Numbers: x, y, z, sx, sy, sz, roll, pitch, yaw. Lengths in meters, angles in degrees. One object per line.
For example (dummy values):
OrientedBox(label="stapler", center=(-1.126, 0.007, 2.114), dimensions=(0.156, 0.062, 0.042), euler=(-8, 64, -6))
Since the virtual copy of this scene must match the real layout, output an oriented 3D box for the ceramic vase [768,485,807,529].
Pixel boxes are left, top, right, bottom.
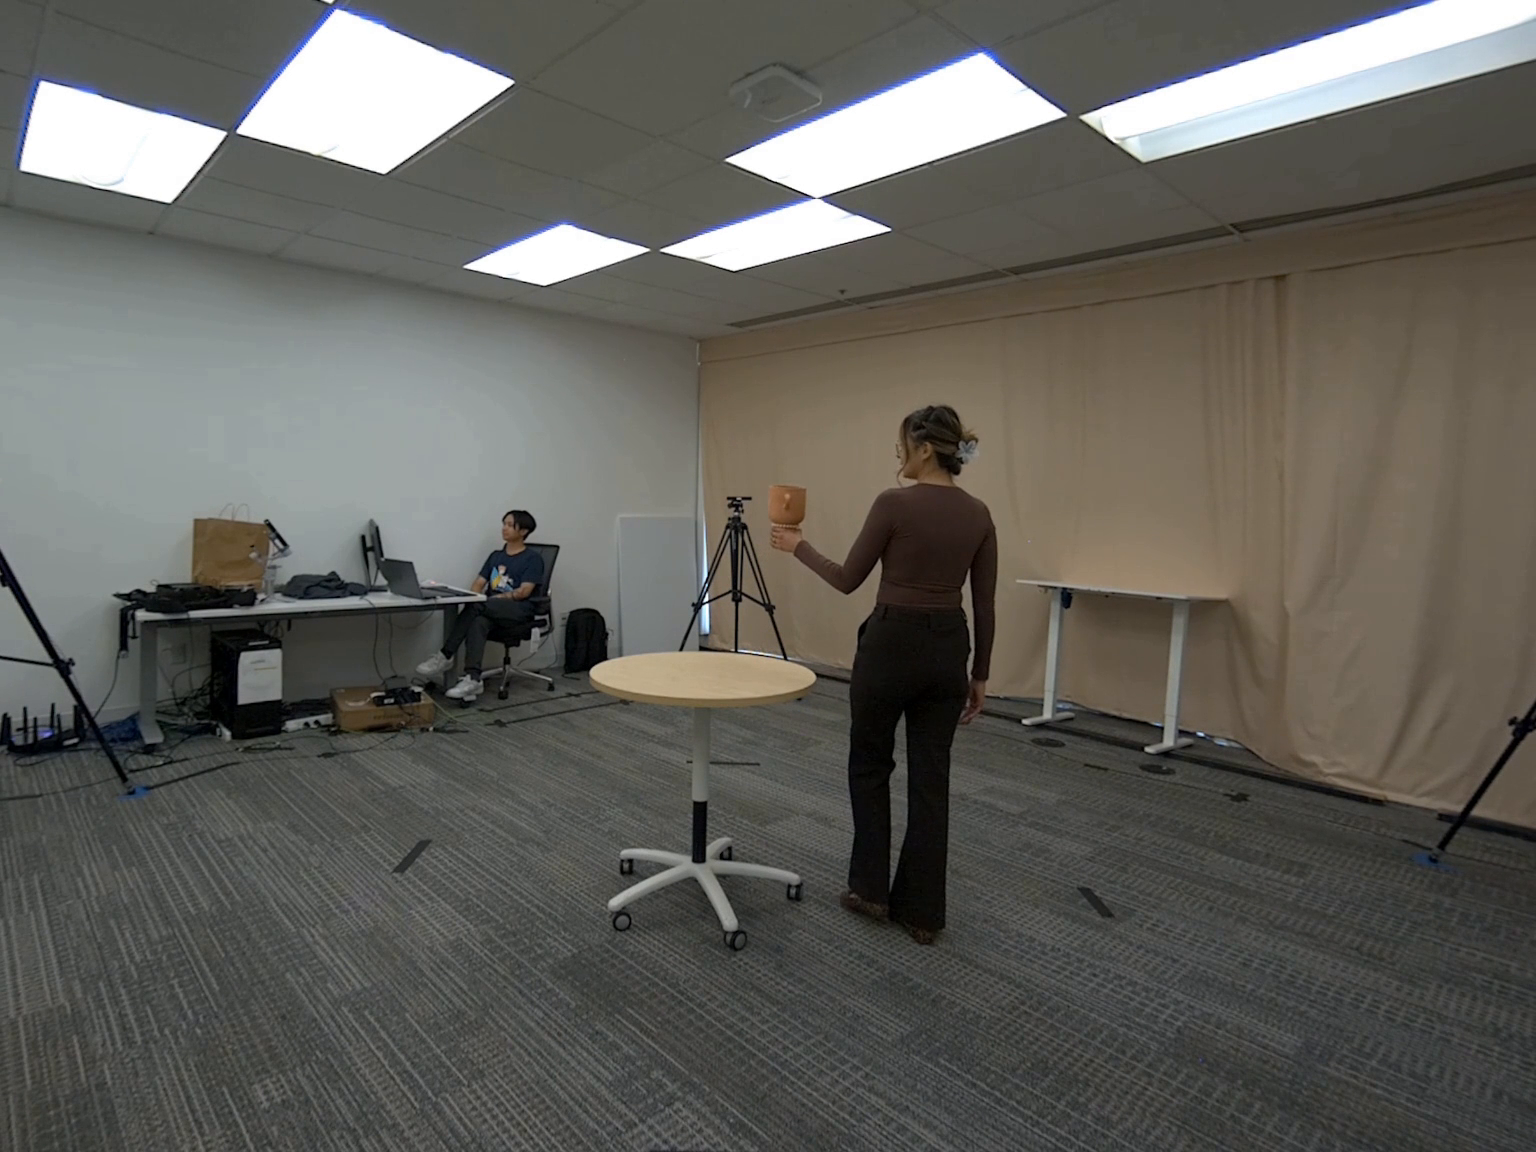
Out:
OrientedBox(label="ceramic vase", center=(0.058, -0.208, 2.994), dimensions=(0.138, 0.219, 0.155), euler=(4, 5, 41))
